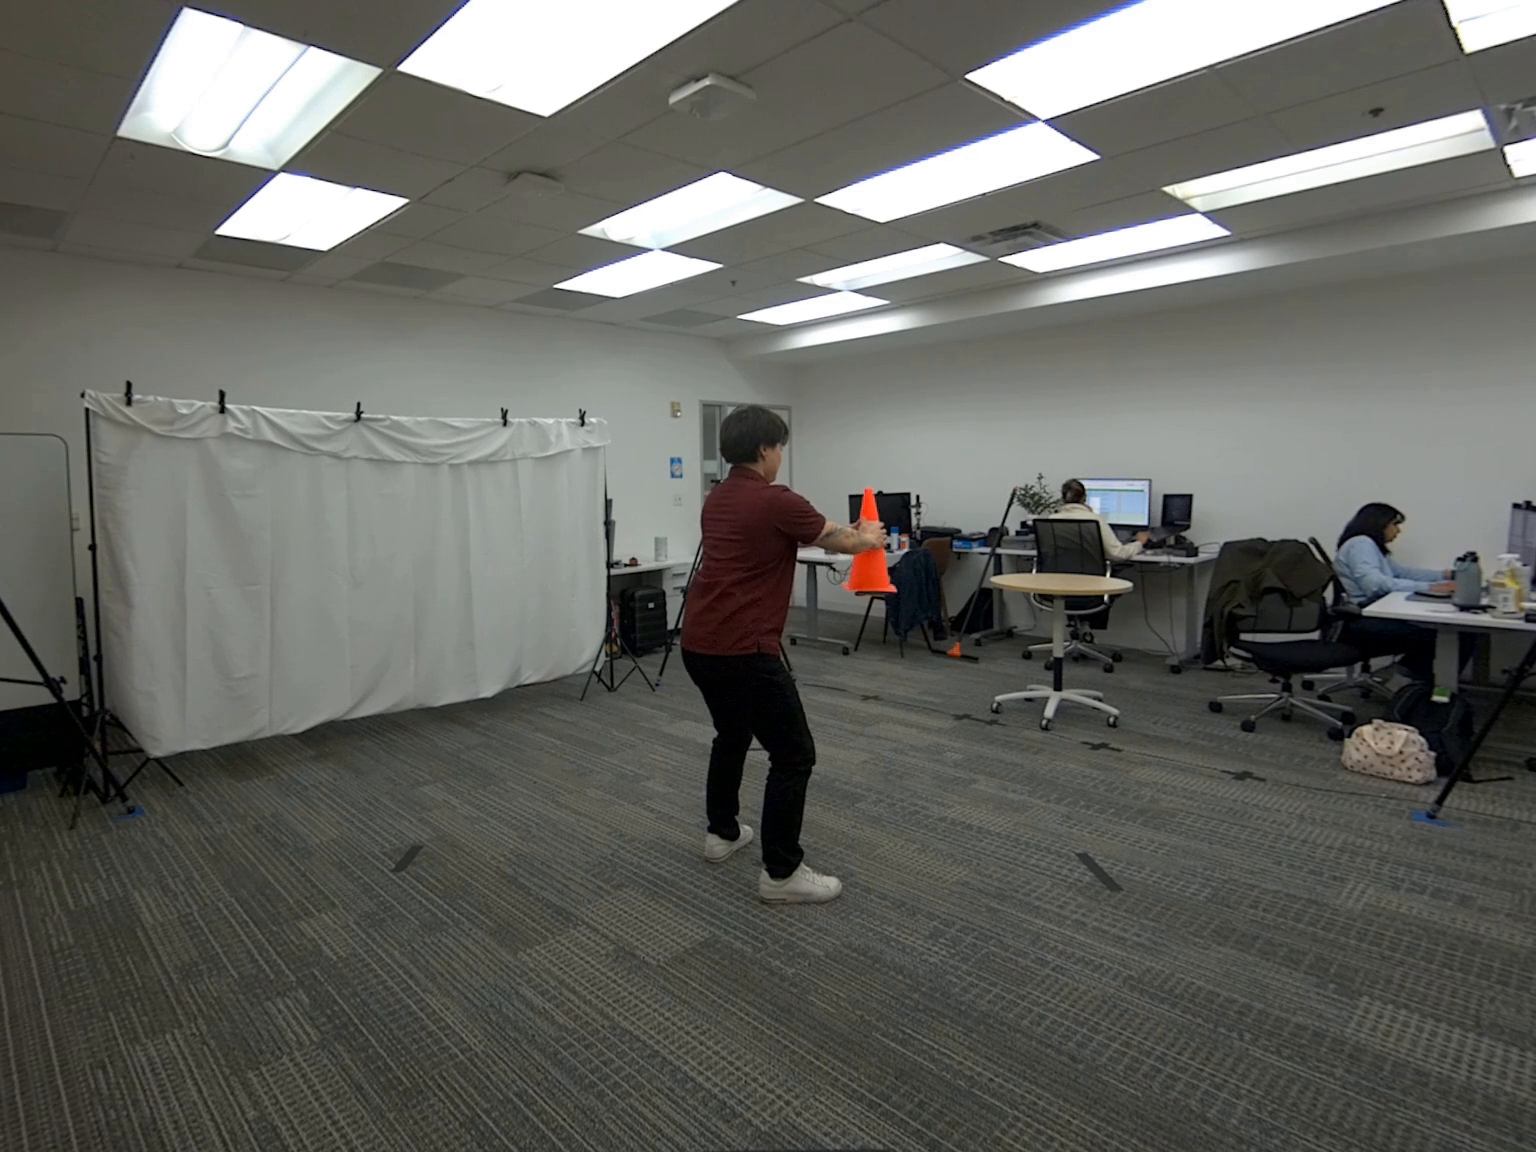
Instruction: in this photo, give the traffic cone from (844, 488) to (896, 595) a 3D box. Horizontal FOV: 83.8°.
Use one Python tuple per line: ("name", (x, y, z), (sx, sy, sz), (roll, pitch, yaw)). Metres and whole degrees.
("traffic cone", (0.397, -0.143, 3.267), (0.203, 0.382, 0.206), (-1, 6, -8))
